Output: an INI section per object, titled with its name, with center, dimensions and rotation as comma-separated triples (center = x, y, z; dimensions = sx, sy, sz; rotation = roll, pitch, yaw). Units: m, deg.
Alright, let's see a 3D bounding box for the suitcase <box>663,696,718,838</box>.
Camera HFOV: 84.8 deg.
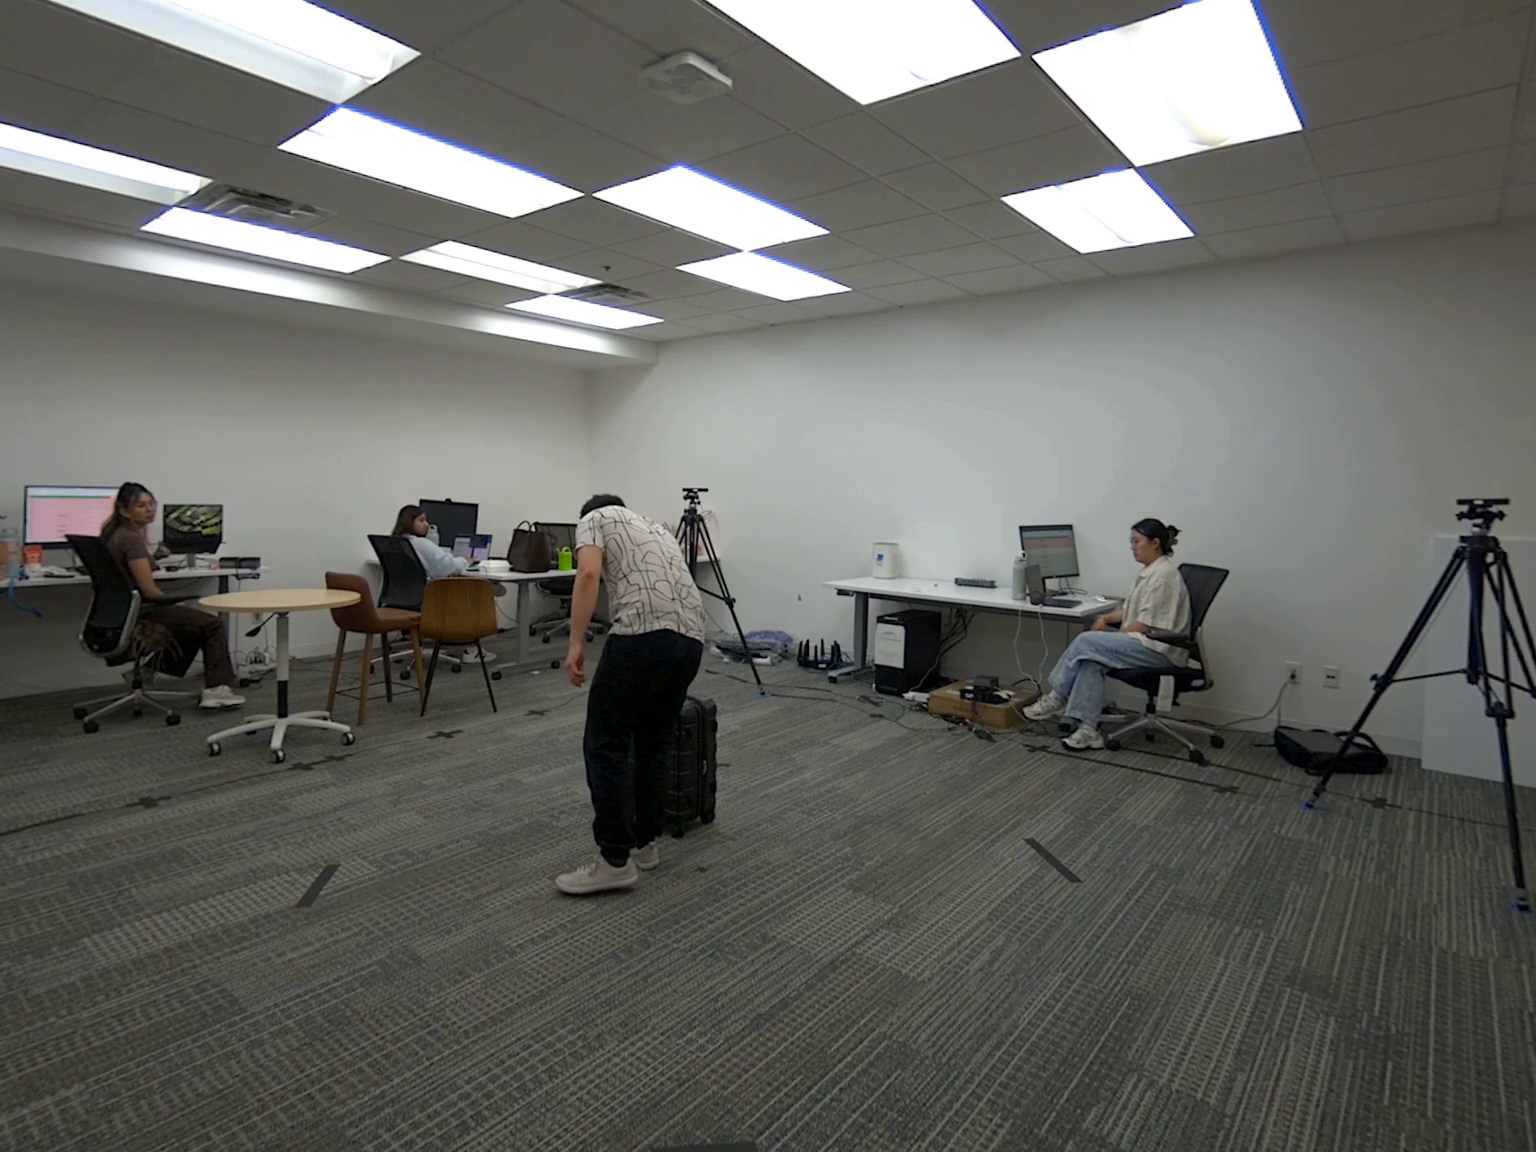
[suitcase]
center = -0.421, 0.744, 3.547
dimensions = 0.388, 0.548, 0.241
rotation = 5, 3, 38
